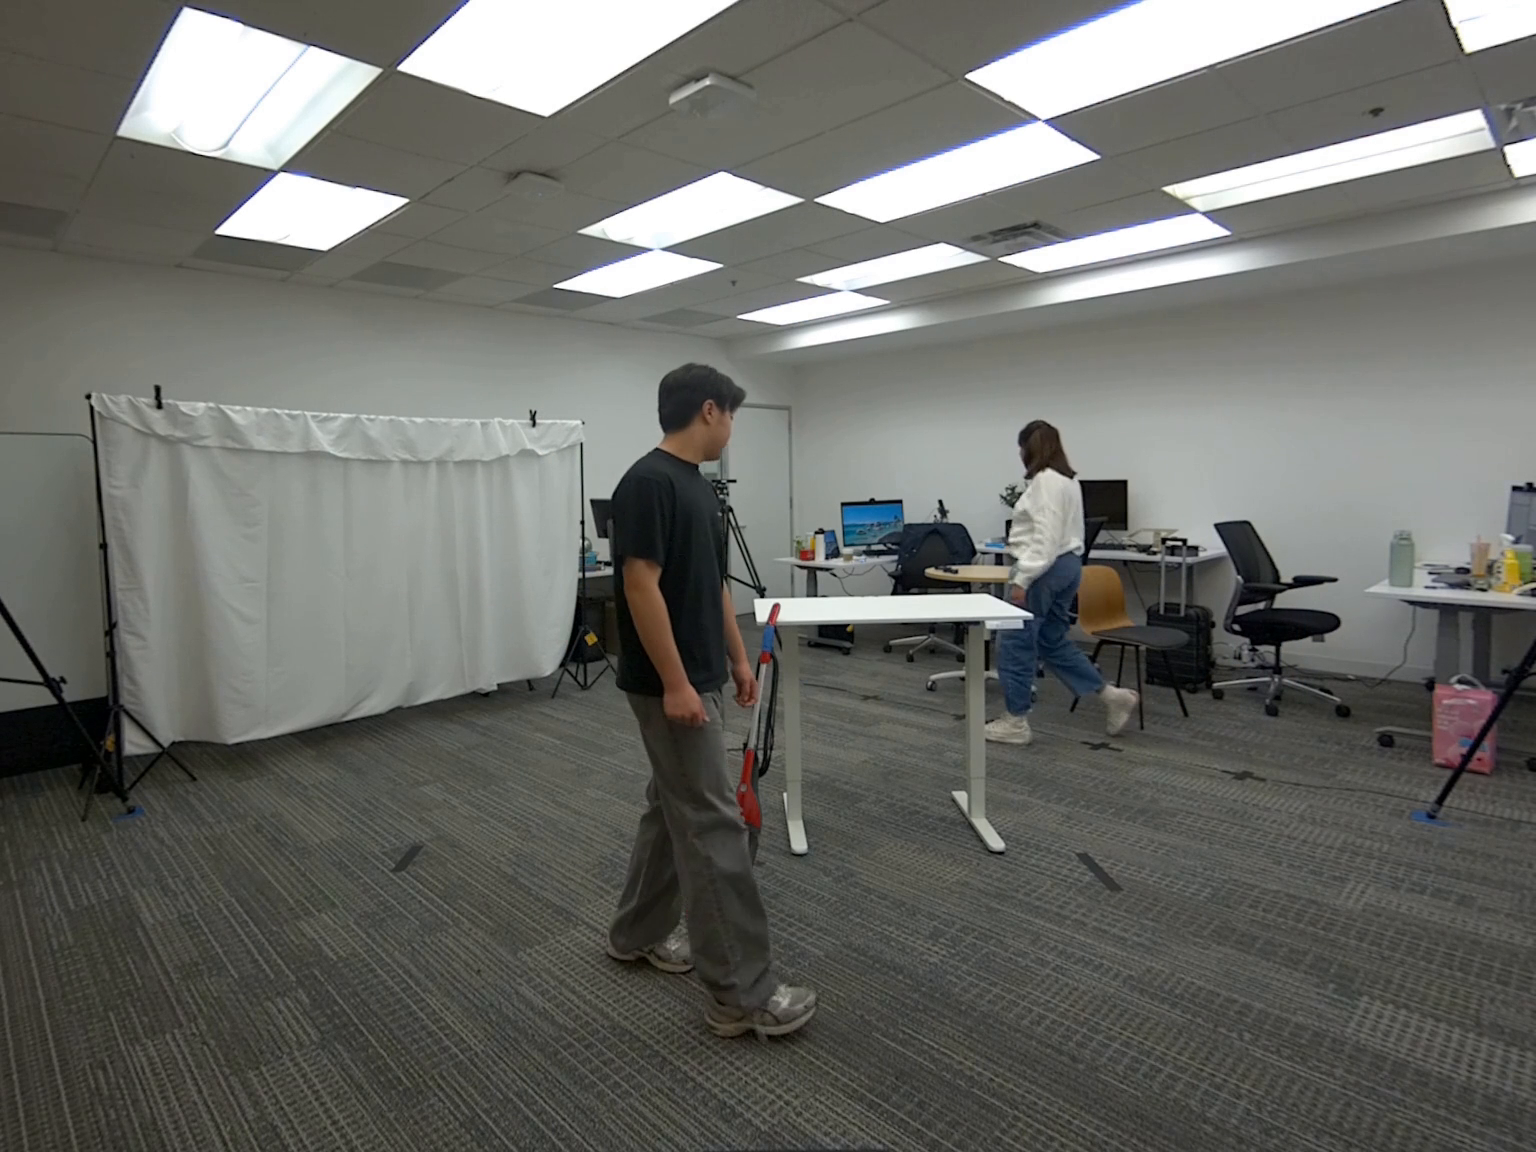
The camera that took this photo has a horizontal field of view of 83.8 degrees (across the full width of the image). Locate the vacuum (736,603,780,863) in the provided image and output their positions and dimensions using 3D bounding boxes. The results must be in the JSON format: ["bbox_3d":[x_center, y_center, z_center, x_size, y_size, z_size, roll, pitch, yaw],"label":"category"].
[{"bbox_3d":[-0.038,0.600,2.929,0.258,1.065,0.138,-1,-24,26],"label":"vacuum"}]
